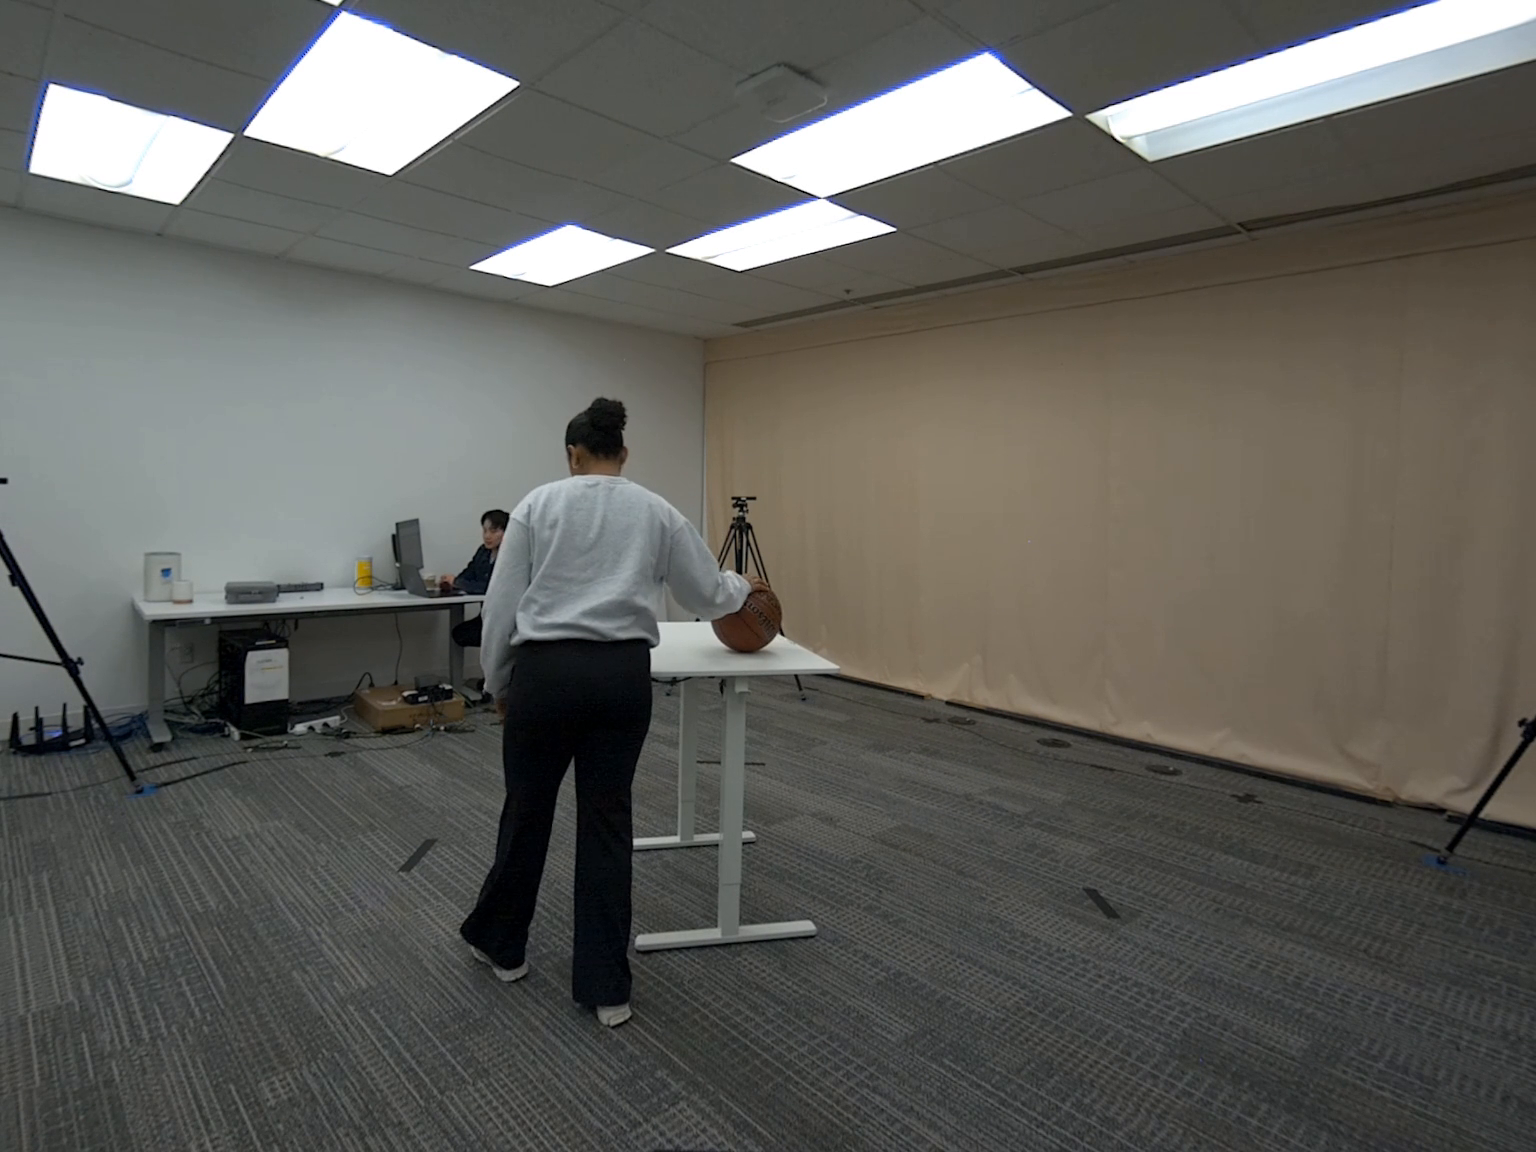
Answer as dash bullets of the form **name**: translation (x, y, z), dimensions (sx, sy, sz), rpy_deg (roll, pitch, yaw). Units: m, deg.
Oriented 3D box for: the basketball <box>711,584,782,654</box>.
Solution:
- **basketball**: translation (-0.090, 0.134, 2.791), dimensions (0.236, 0.235, 0.237), rpy_deg (1, 4, -1)
